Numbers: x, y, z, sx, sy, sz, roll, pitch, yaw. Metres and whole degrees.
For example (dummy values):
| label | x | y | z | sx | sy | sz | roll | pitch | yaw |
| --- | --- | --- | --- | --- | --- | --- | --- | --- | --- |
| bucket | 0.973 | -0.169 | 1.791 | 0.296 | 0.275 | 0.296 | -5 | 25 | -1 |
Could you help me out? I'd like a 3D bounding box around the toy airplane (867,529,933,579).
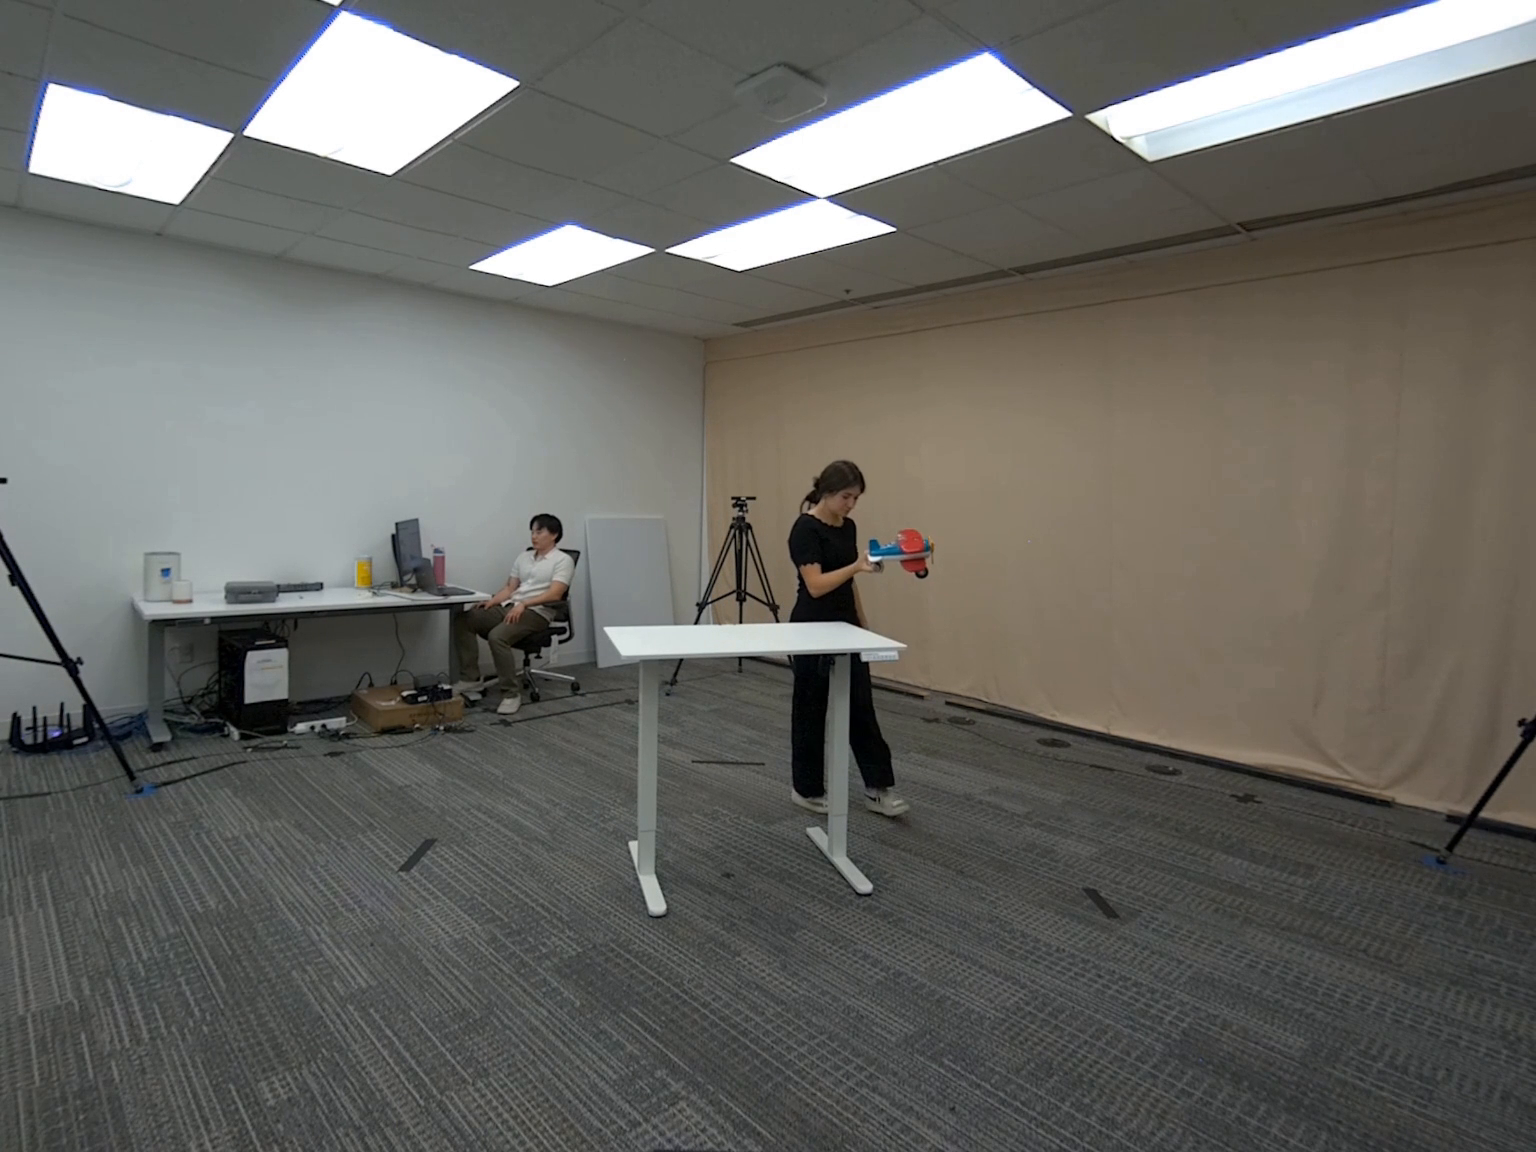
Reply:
| label | x | y | z | sx | sy | sz | roll | pitch | yaw |
| --- | --- | --- | --- | --- | --- | --- | --- | --- | --- |
| toy airplane | 0.530 | -0.081 | 3.370 | 0.255 | 0.154 | 0.258 | -3 | 23 | -24 |
